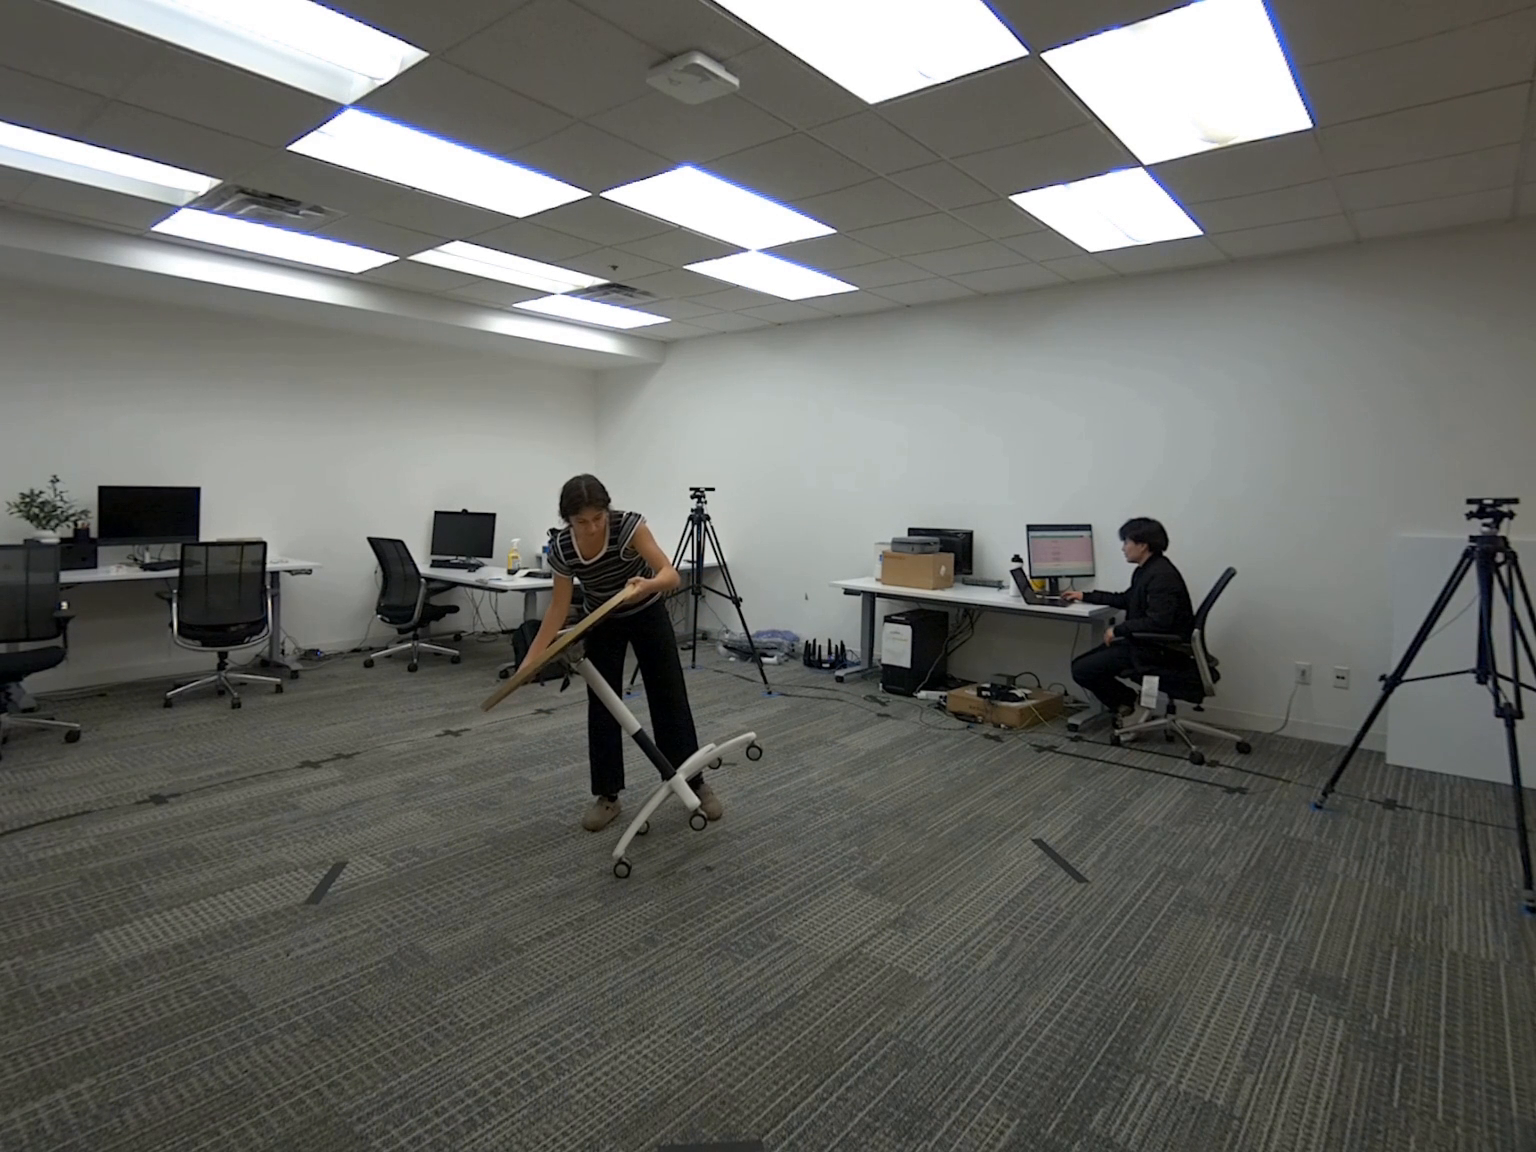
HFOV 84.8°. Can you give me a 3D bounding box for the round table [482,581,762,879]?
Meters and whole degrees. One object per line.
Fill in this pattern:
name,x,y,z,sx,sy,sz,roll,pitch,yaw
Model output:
round table,-0.521,0.548,3.209,0.785,0.786,0.786,-38,2,-1
